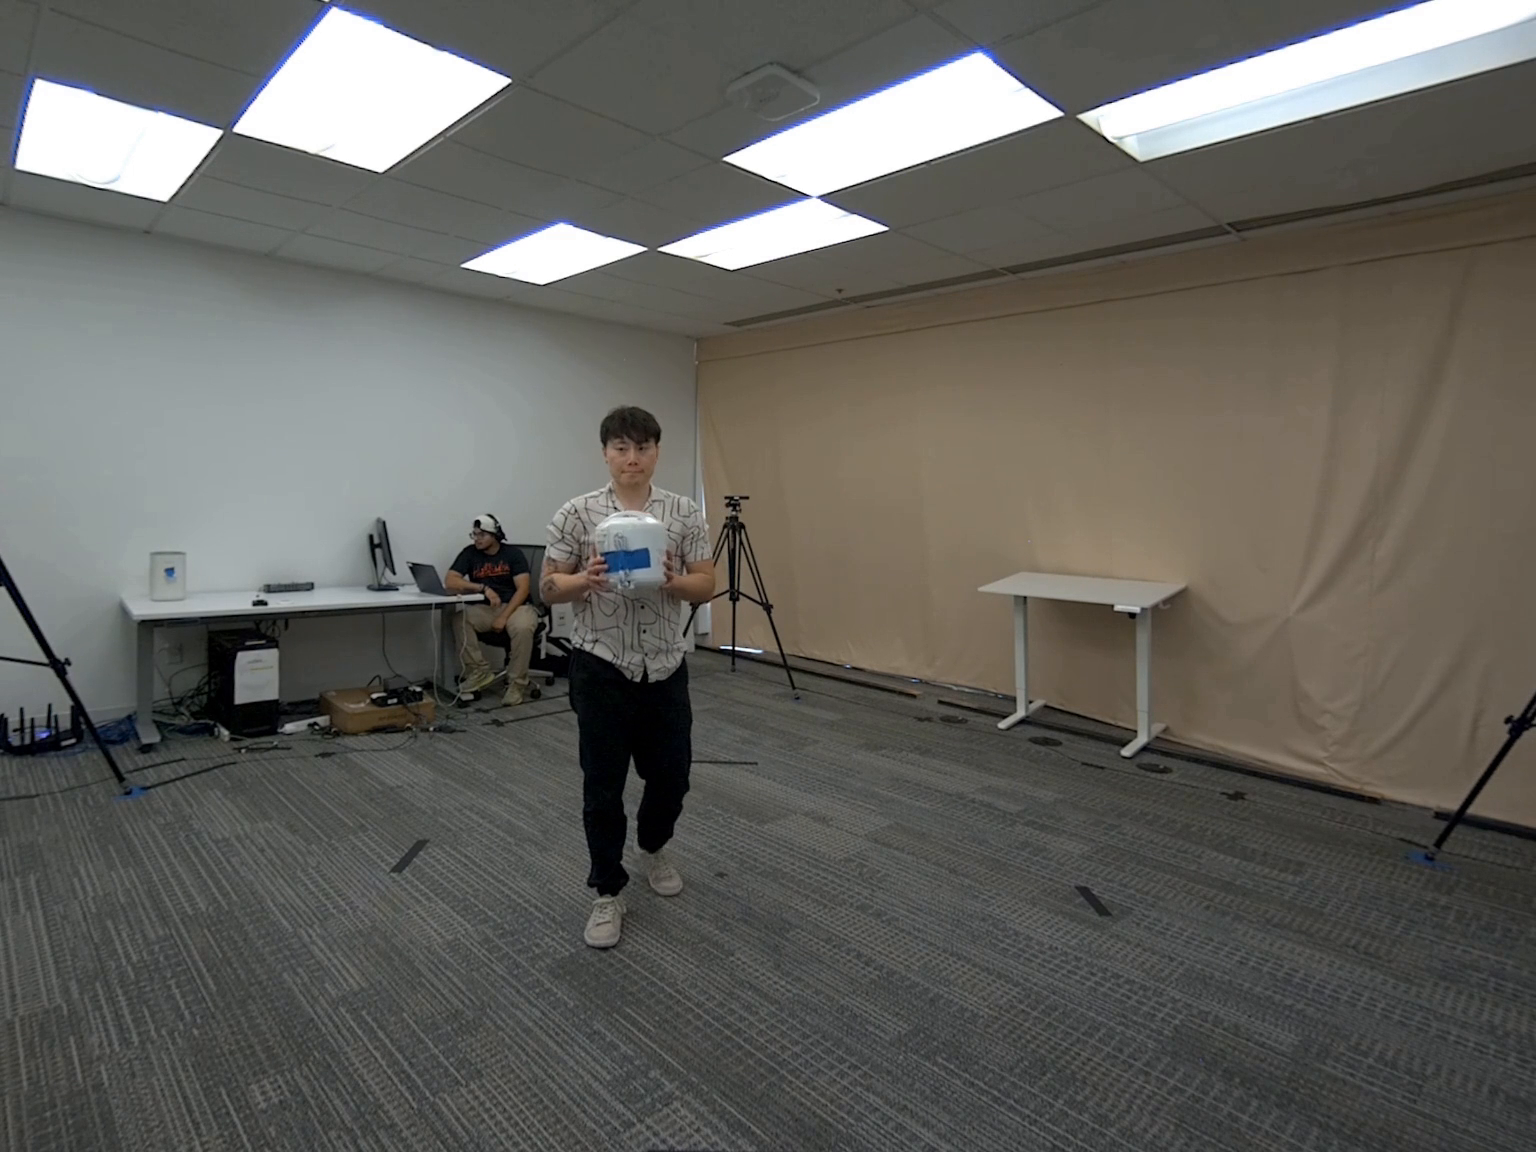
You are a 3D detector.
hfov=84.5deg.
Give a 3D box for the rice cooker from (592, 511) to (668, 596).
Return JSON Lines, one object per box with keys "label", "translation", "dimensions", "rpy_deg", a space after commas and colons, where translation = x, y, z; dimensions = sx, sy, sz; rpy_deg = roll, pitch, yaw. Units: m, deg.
{"label": "rice cooker", "translation": [-0.404, -0.073, 2.493], "dimensions": [0.215, 0.233, 0.222], "rpy_deg": [1, -2, -40]}
